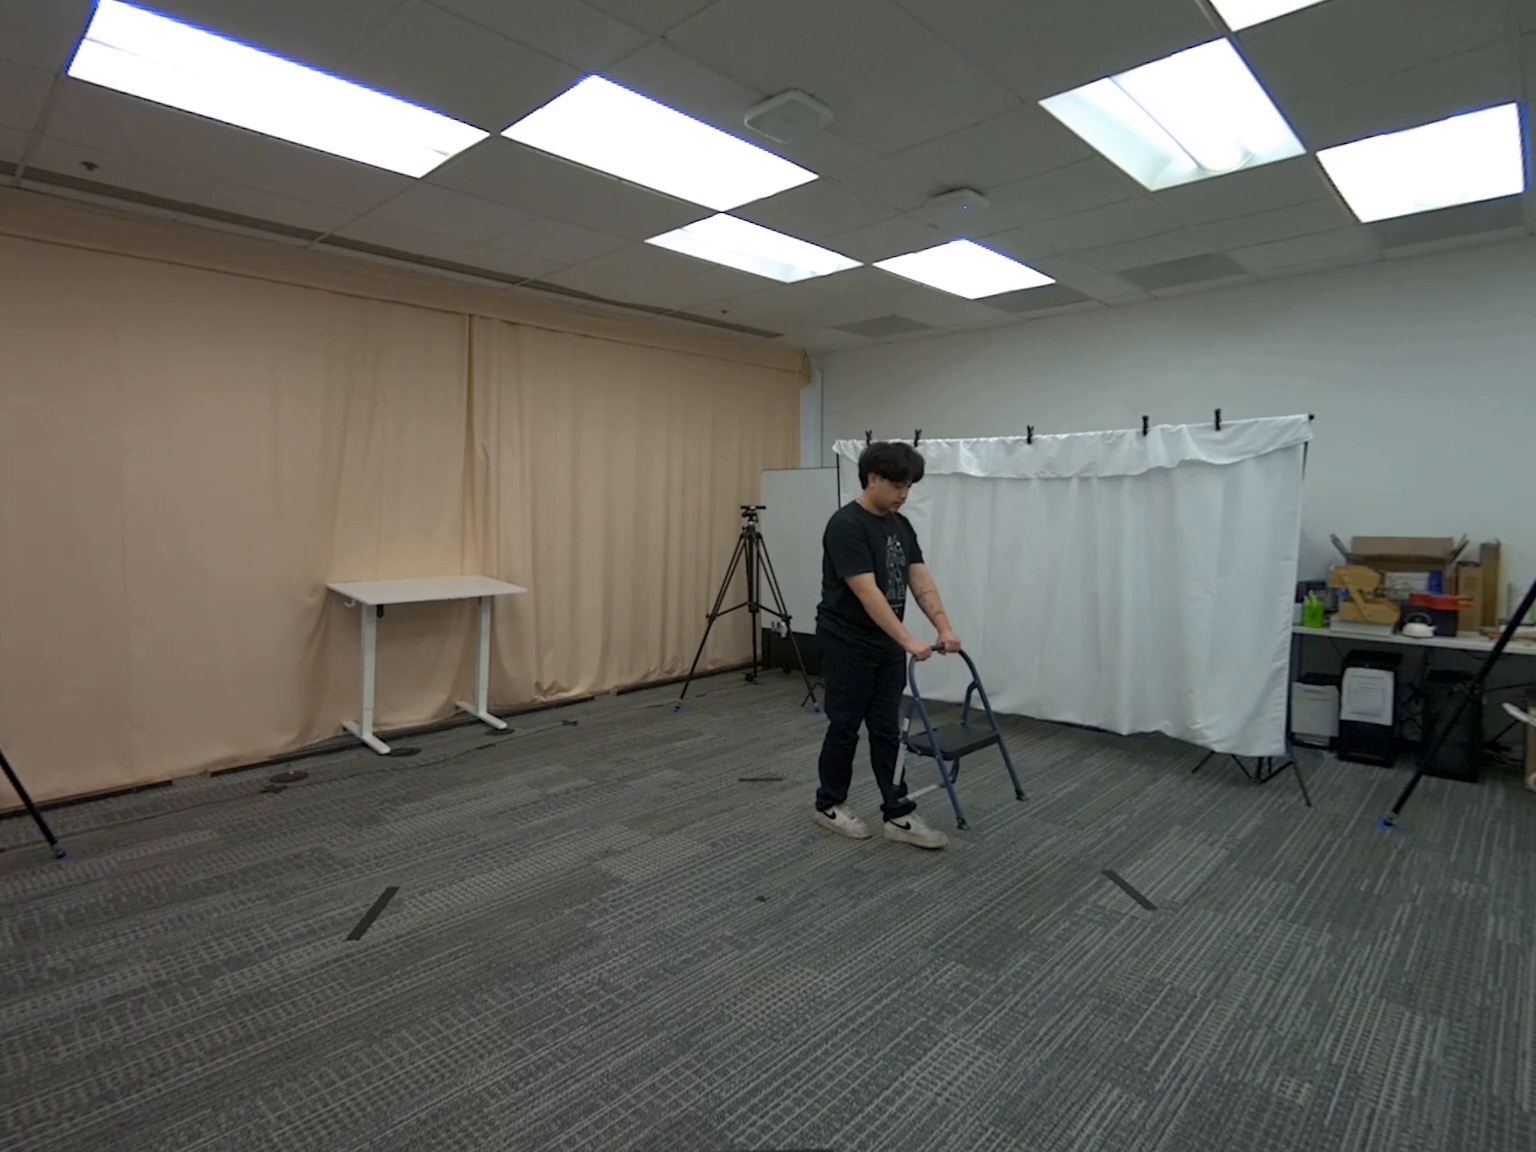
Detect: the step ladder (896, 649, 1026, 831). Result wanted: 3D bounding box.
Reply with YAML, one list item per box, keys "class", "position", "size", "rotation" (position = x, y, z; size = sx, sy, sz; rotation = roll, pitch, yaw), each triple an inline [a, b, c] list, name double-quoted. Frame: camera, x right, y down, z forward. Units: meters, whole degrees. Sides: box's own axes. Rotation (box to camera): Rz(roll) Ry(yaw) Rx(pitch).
- class: "step ladder"
  position: [0.724, 0.580, 3.227]
  size: [0.417, 0.605, 0.360]
  rotation: [-5, 3, -43]
